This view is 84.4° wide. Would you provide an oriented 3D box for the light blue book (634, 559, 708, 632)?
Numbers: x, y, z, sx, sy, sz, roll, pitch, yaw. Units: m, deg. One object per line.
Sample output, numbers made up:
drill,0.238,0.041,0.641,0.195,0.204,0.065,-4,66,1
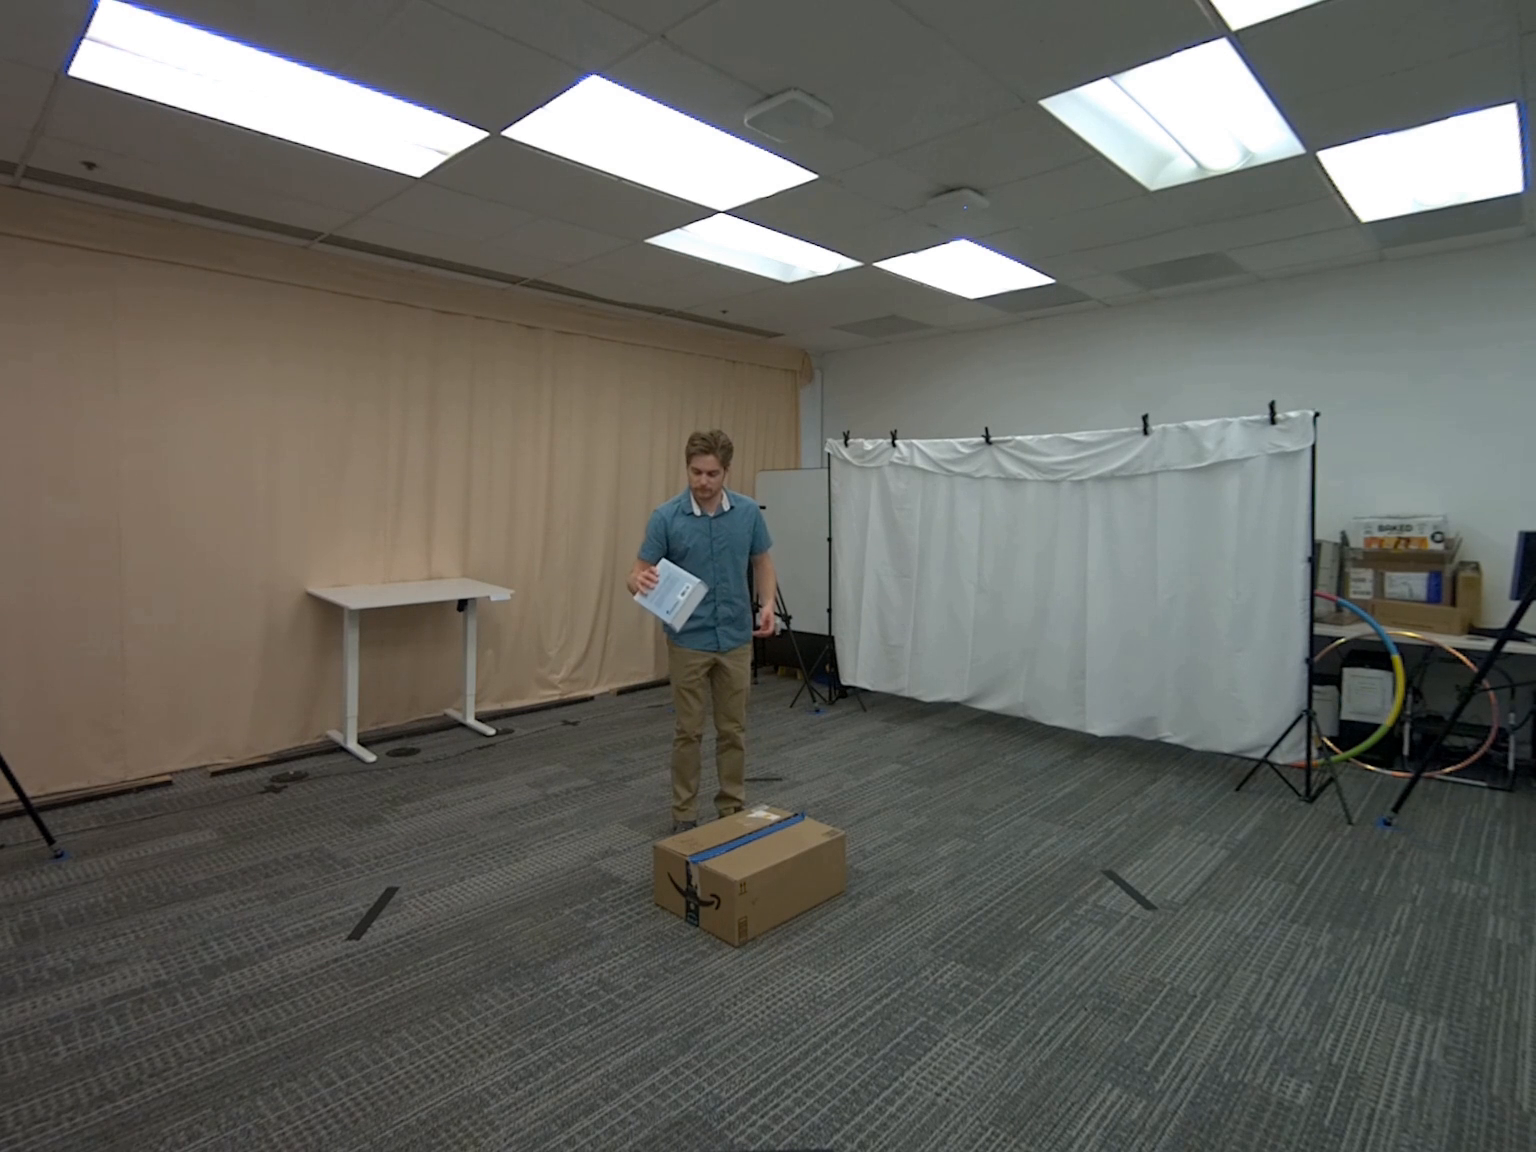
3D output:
light blue book,-0.343,0.075,3.021,0.057,0.191,0.270,38,-6,-35
